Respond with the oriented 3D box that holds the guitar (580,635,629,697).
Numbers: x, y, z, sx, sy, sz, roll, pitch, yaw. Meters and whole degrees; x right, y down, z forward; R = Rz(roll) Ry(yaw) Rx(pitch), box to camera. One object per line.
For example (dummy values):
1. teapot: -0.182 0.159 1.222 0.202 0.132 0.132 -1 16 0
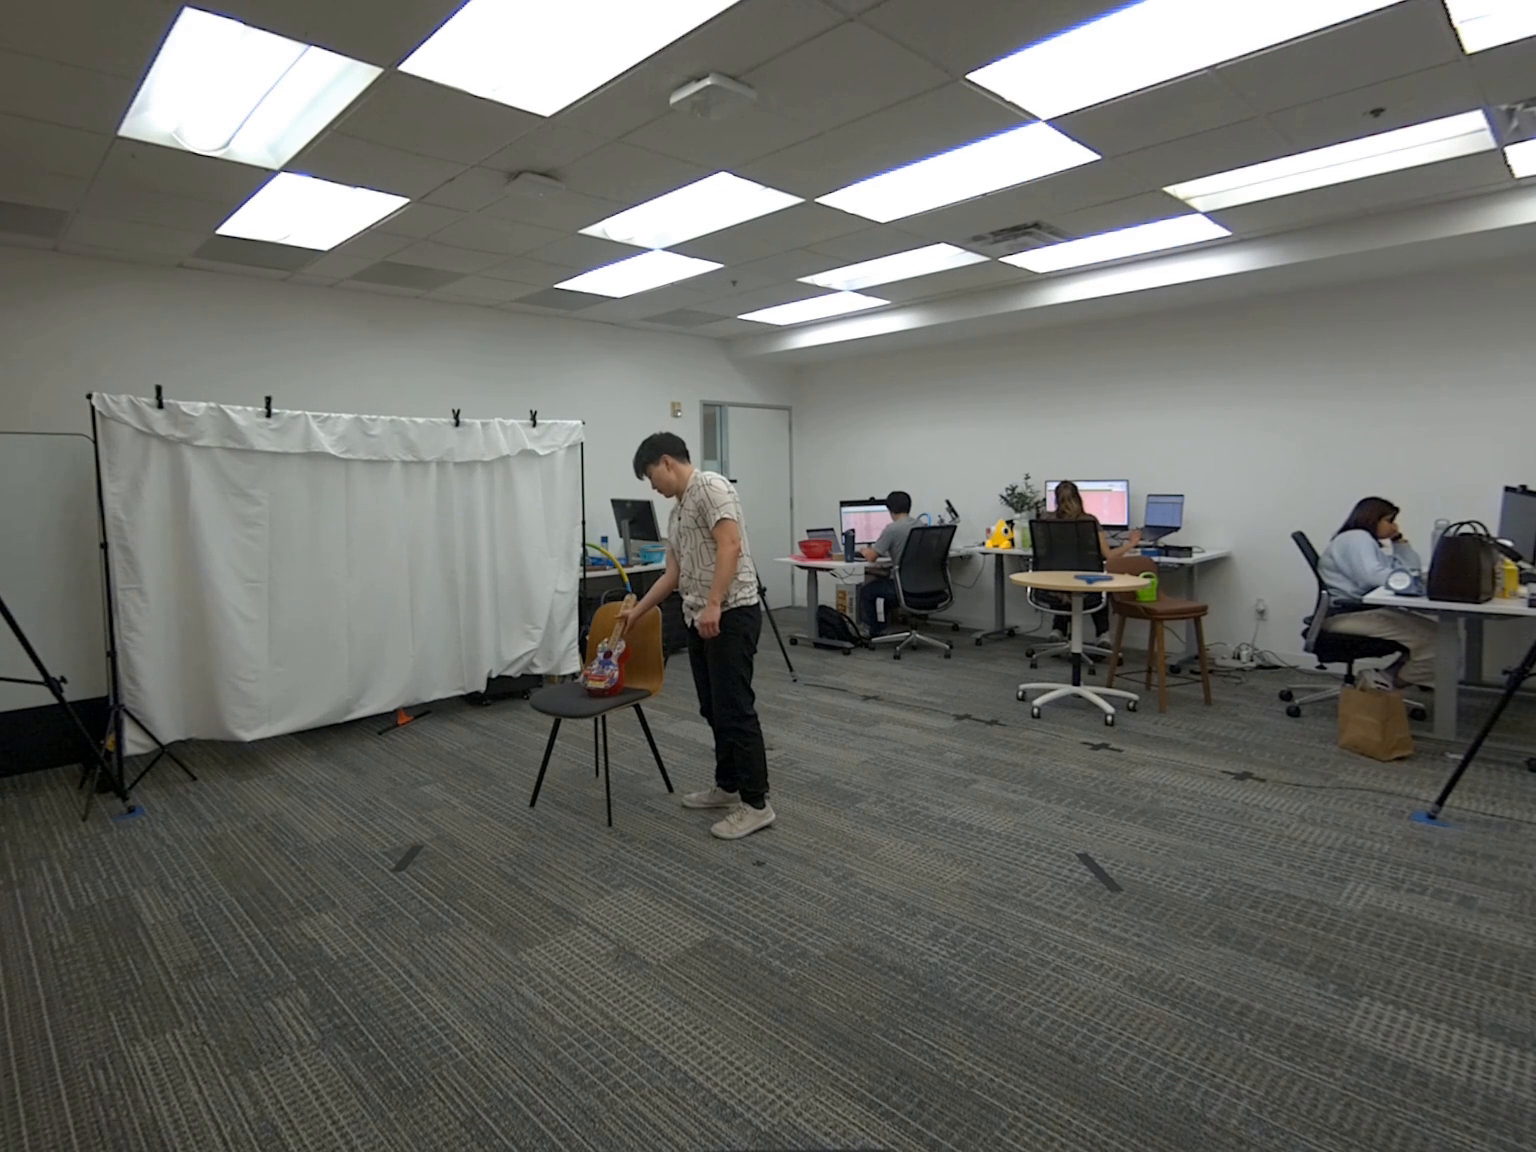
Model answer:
1. guitar: -0.661 0.308 3.813 0.198 0.502 0.068 8 -33 30
